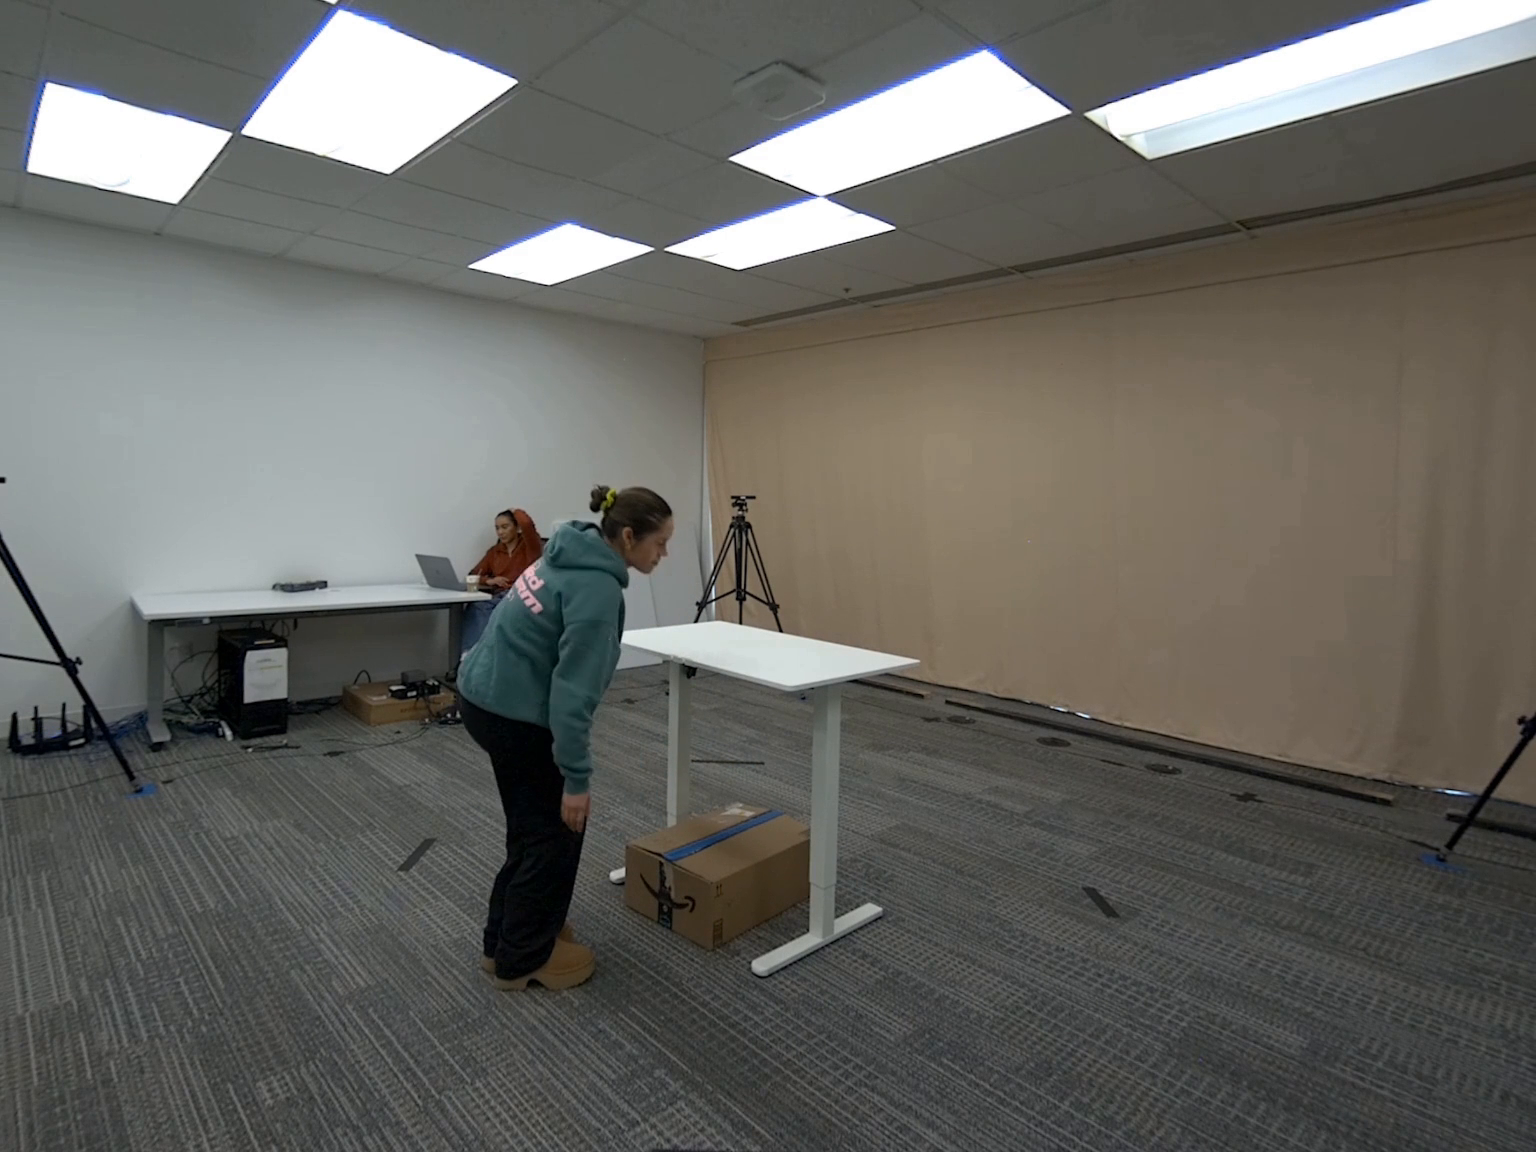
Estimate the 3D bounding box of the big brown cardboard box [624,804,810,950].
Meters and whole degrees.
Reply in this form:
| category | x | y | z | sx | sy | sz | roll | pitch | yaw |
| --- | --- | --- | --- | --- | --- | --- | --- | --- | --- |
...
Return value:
| category | x | y | z | sx | sy | sz | roll | pitch | yaw |
| --- | --- | --- | --- | --- | --- | --- | --- | --- | --- |
| big brown cardboard box | -0.146 | 1.004 | 2.912 | 0.428 | 0.232 | 0.576 | 5 | 7 | 41 |
